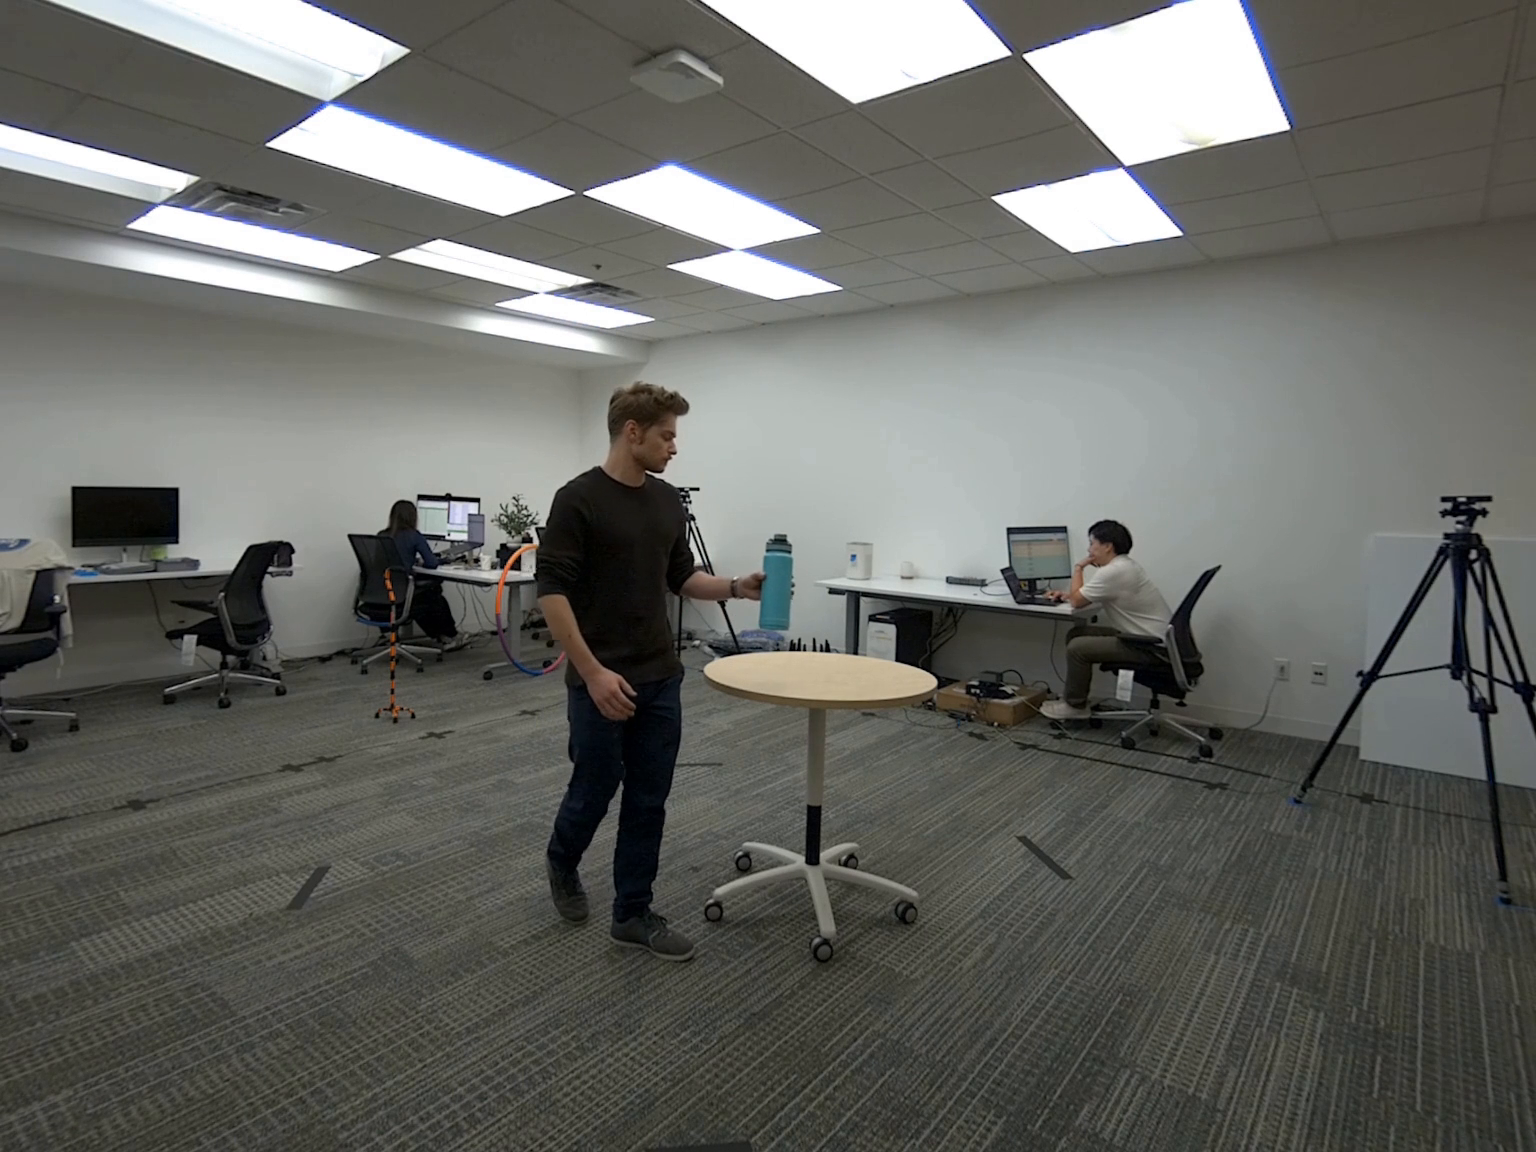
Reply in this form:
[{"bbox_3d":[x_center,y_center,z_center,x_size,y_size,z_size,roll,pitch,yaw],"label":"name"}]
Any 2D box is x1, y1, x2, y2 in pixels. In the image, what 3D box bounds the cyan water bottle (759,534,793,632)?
[{"bbox_3d":[0.010,0.018,2.530,0.092,0.286,0.091,3,-9,-1],"label":"cyan water bottle"}]
